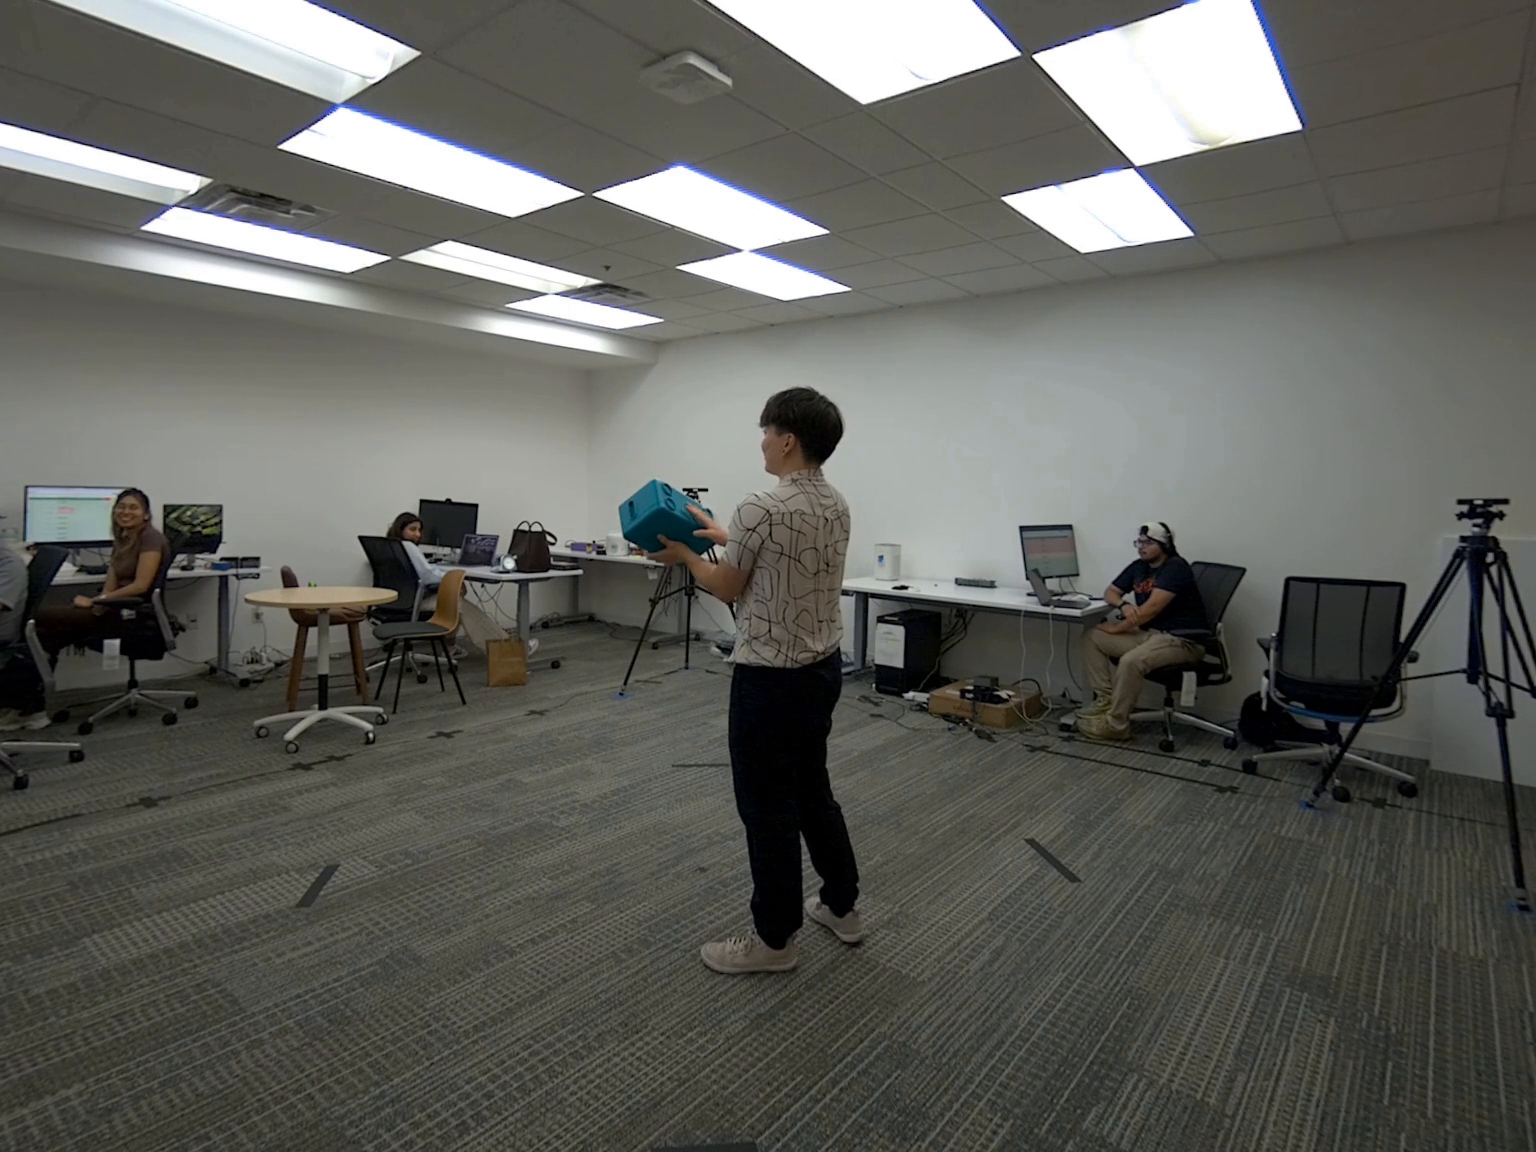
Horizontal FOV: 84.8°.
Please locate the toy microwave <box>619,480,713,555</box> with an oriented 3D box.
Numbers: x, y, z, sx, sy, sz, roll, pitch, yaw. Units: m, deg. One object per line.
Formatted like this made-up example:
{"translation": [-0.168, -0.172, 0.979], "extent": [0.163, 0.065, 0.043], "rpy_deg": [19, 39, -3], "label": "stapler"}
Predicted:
{"translation": [-0.320, -0.172, 2.667], "extent": [0.185, 0.158, 0.274], "rpy_deg": [-35, -41, 25], "label": "toy microwave"}
